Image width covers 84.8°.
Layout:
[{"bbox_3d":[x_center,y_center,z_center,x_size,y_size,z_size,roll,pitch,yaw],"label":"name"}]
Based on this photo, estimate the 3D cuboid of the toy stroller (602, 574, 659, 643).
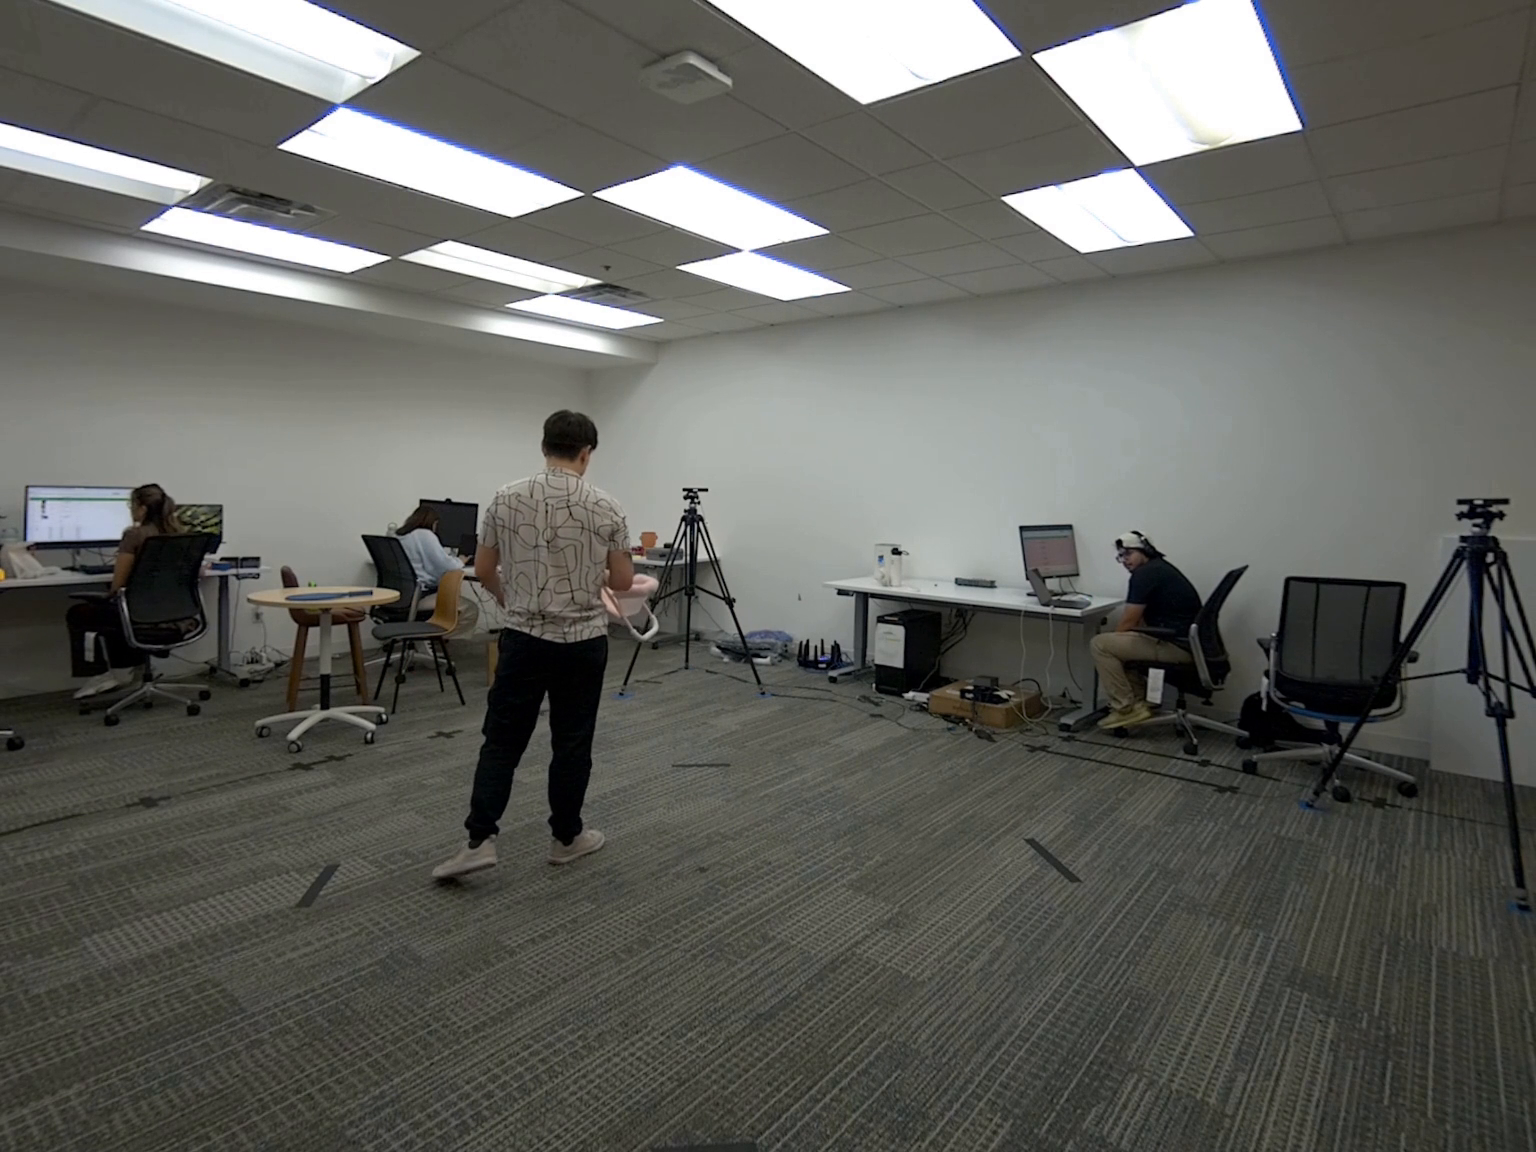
[{"bbox_3d":[-0.694,0.017,3.460,0.547,0.338,0.278,17,13,17],"label":"toy stroller"}]
